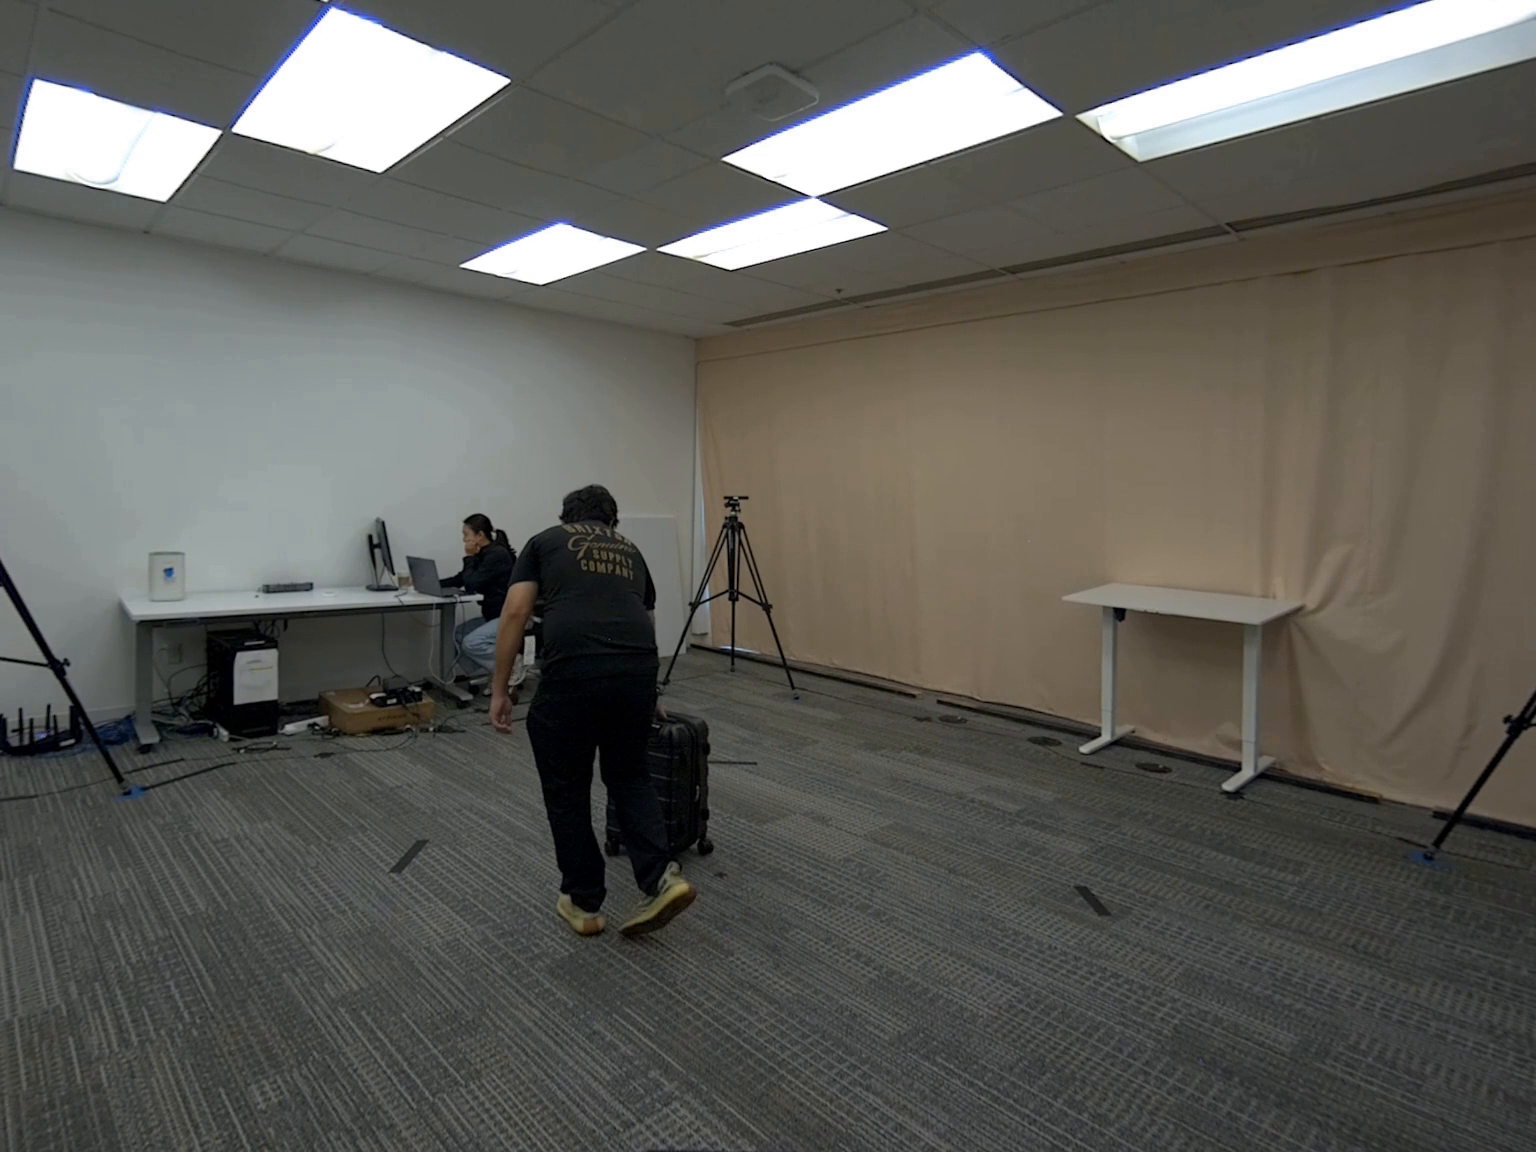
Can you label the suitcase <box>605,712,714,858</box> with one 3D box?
[{"bbox_3d":[-0.428,0.810,3.282,0.384,0.549,0.243,3,1,34],"label":"suitcase"}]
